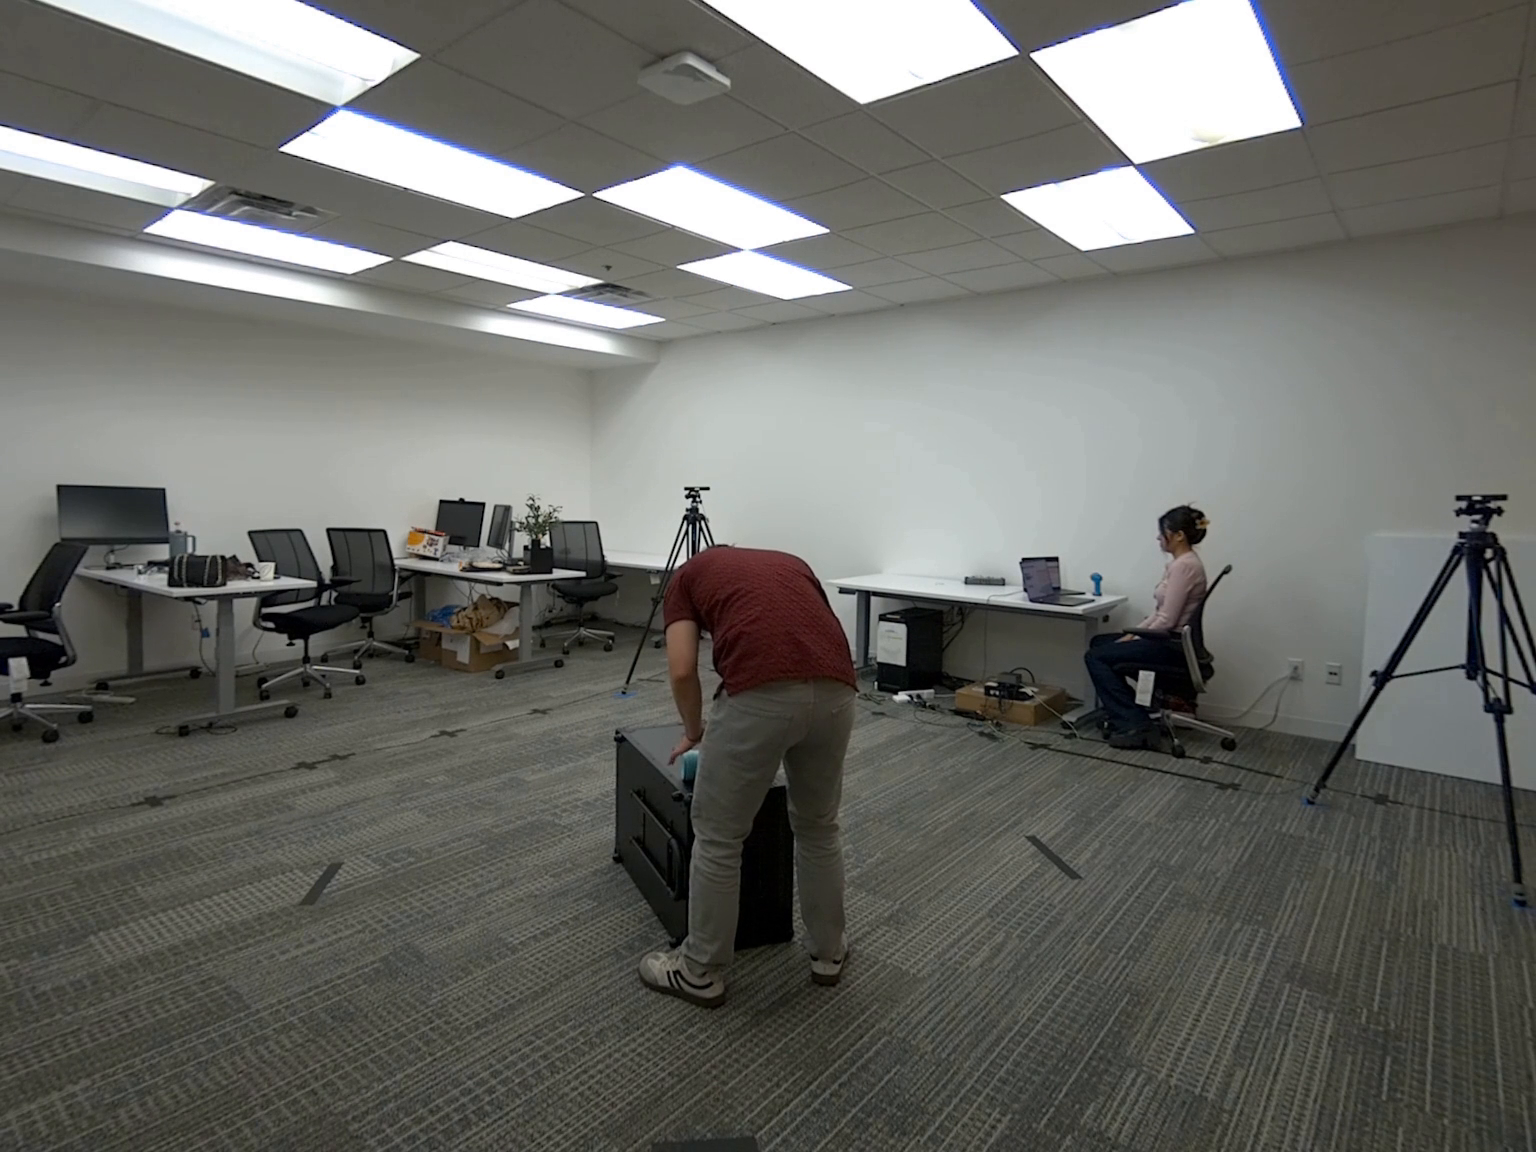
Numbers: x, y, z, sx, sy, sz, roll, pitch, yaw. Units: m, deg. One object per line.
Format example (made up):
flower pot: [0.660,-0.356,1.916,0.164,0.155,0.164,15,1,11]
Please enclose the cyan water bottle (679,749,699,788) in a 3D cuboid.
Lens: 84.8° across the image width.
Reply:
cyan water bottle: [-0.140,0.582,2.651,0.281,0.092,0.093,0,4,-7]
